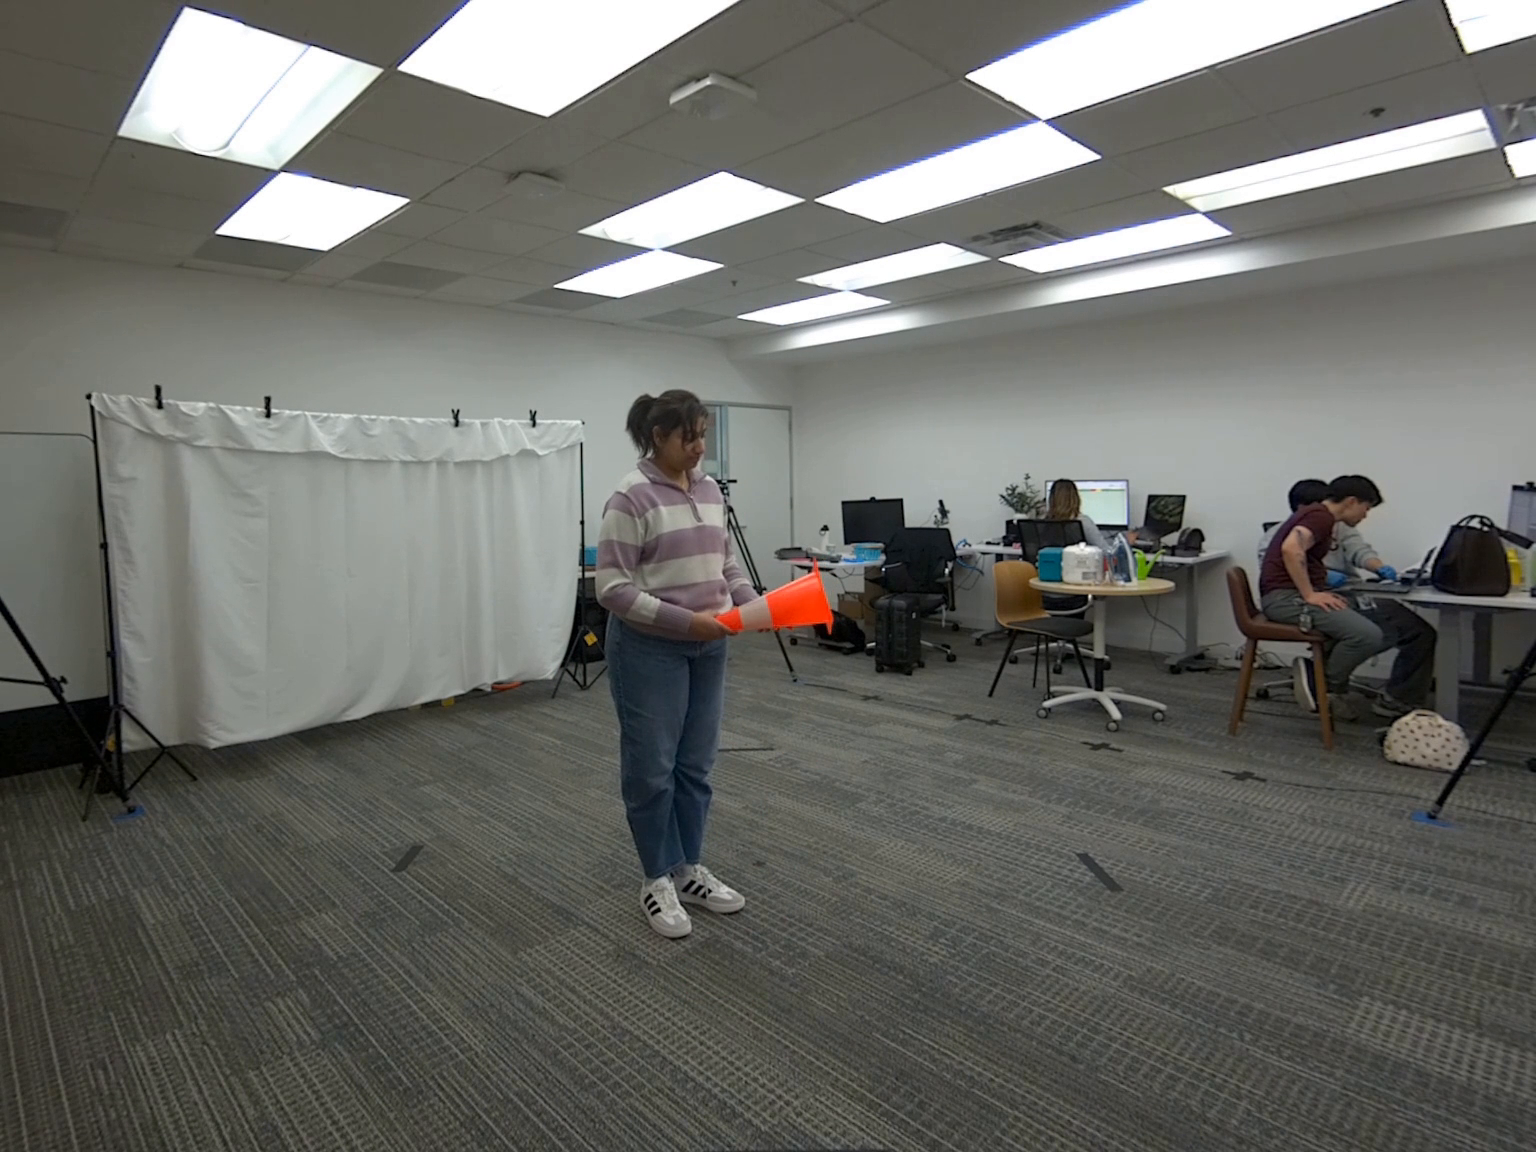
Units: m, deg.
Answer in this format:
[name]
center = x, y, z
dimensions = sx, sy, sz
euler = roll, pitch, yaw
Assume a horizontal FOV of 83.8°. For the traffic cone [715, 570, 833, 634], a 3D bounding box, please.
[traffic cone]
center = -0.015, 0.112, 2.607
dimensions = 0.386, 0.205, 0.202
euler = -15, -5, 10
